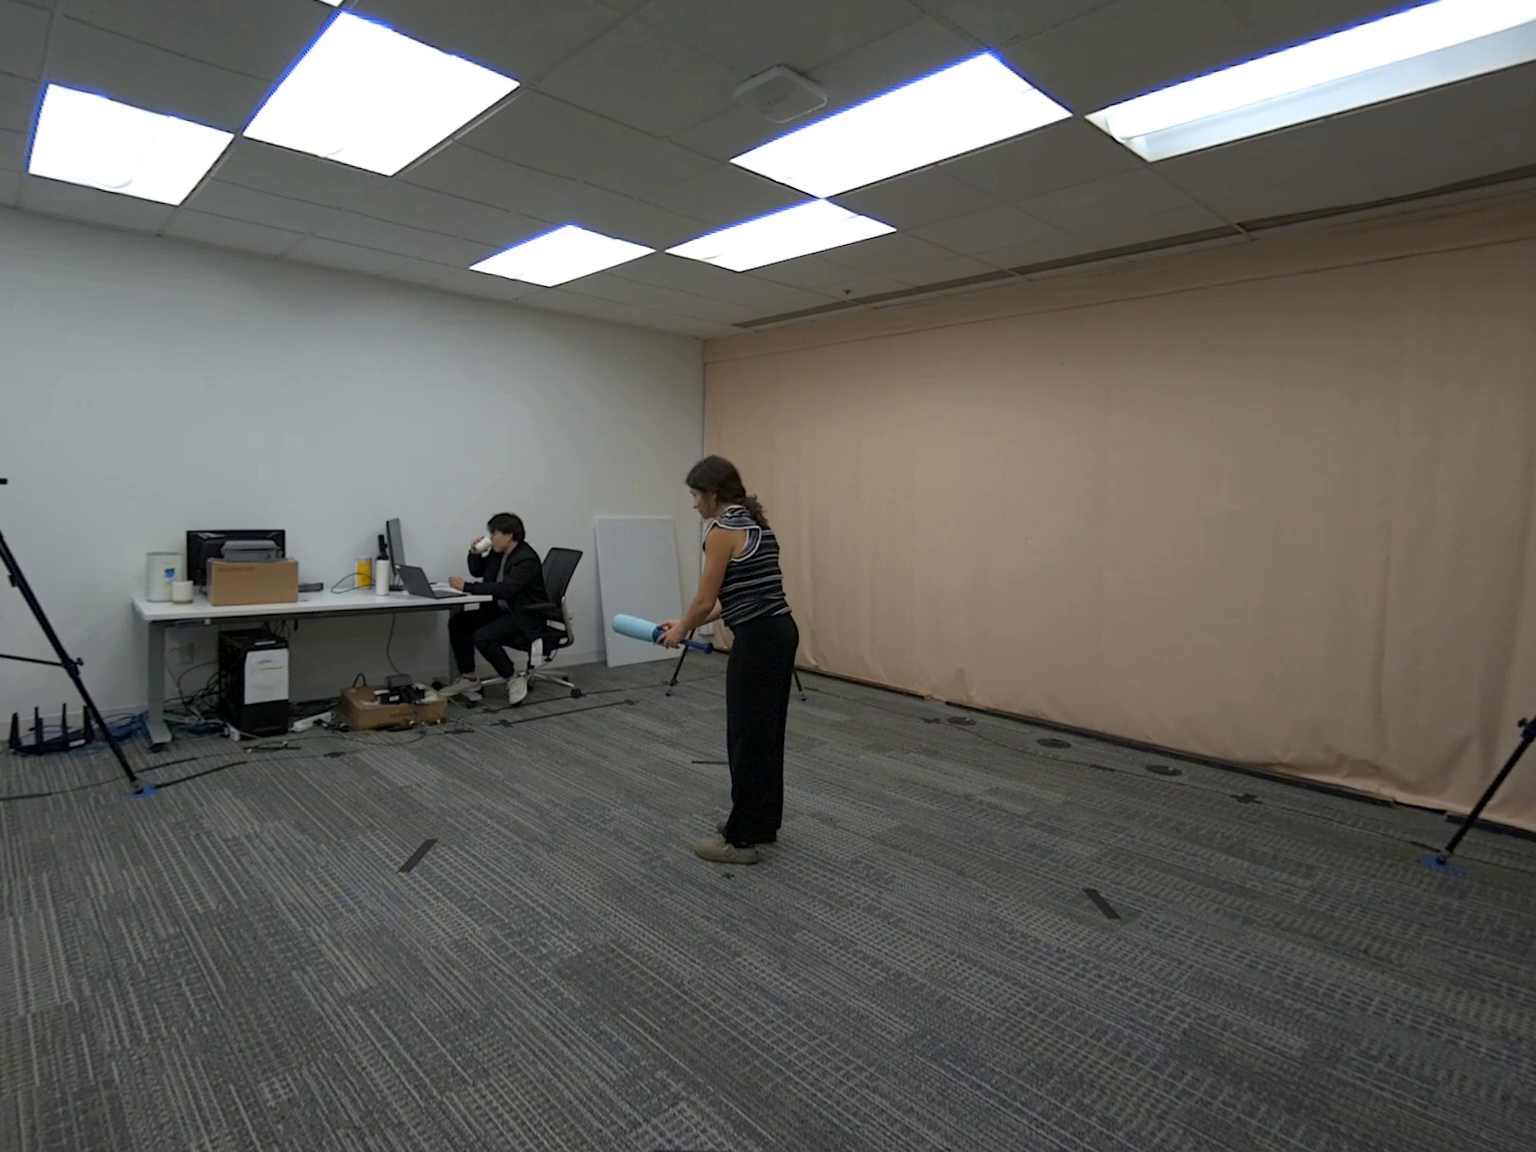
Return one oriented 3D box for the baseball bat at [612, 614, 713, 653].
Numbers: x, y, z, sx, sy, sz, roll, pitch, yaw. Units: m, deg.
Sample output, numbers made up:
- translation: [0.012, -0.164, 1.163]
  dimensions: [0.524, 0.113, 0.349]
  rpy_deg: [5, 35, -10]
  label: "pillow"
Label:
- translation: [-0.448, 0.252, 3.487]
  dimensions: [0.557, 0.089, 0.087]
  rpy_deg: [10, 8, 37]
  label: "baseball bat"
